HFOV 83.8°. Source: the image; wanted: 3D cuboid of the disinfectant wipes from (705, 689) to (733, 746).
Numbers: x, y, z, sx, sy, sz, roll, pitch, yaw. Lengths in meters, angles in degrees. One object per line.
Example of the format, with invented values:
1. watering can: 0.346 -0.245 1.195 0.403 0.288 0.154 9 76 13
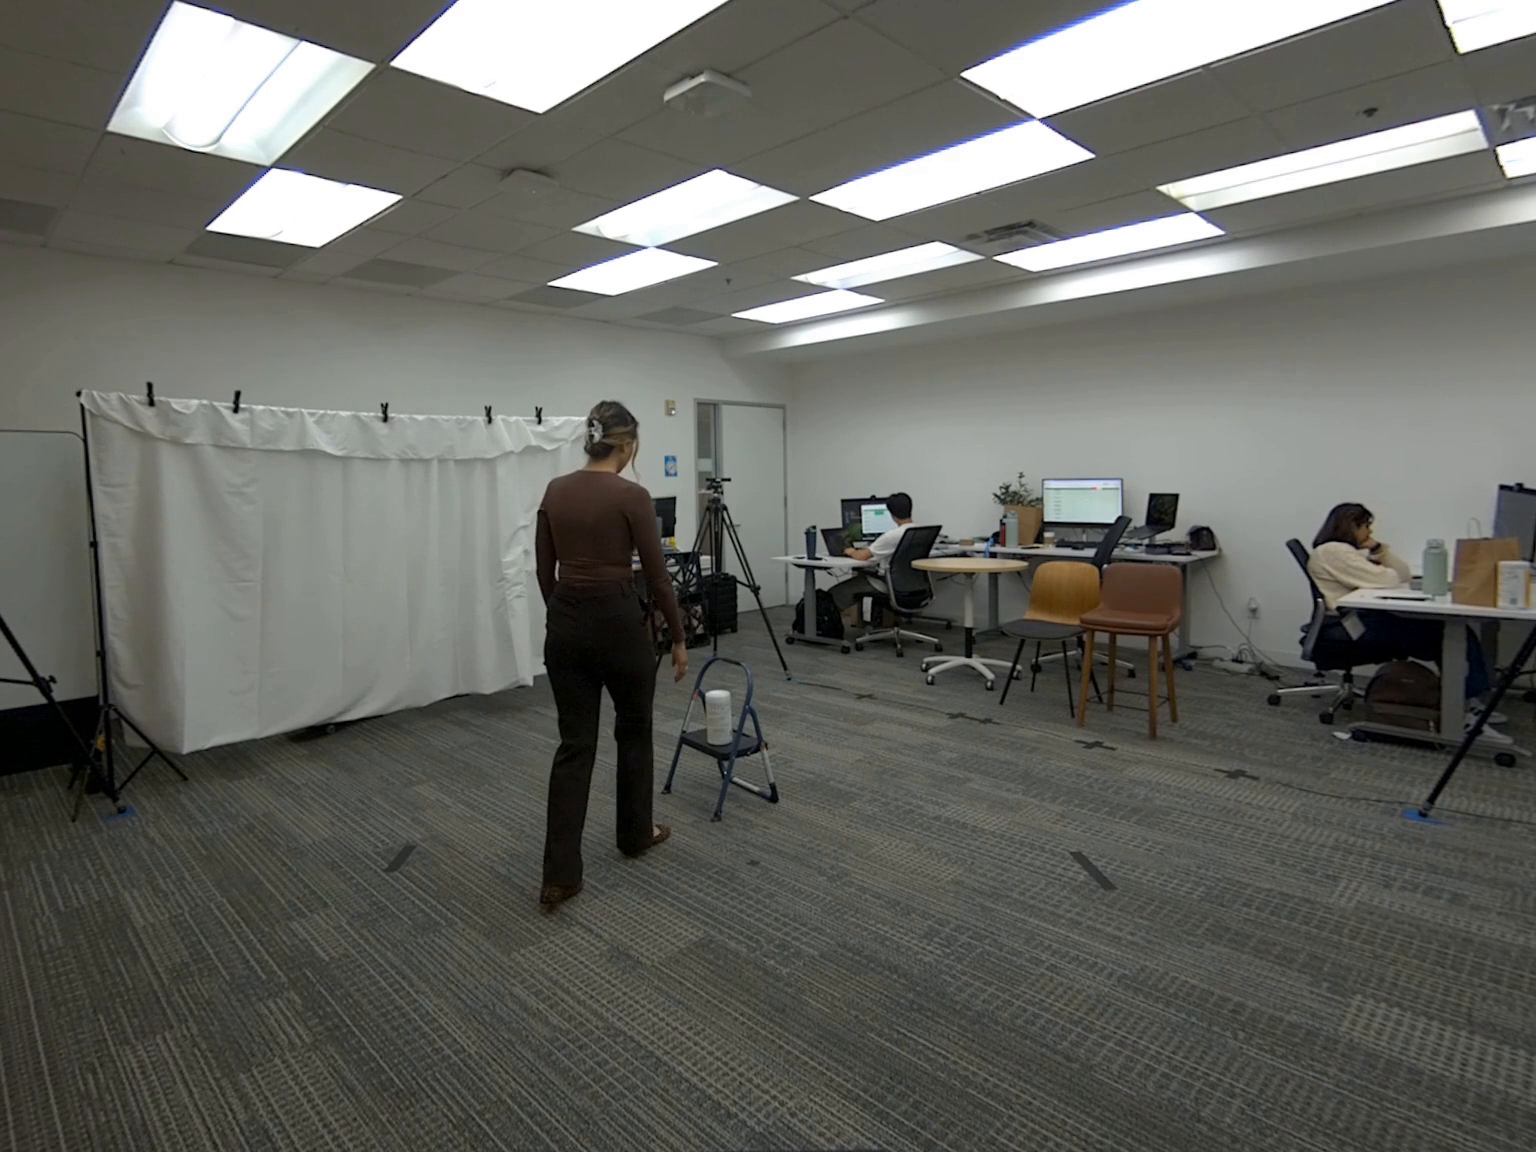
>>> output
1. disinfectant wipes: -0.206 0.613 3.696 0.118 0.217 0.118 -4 3 -1
